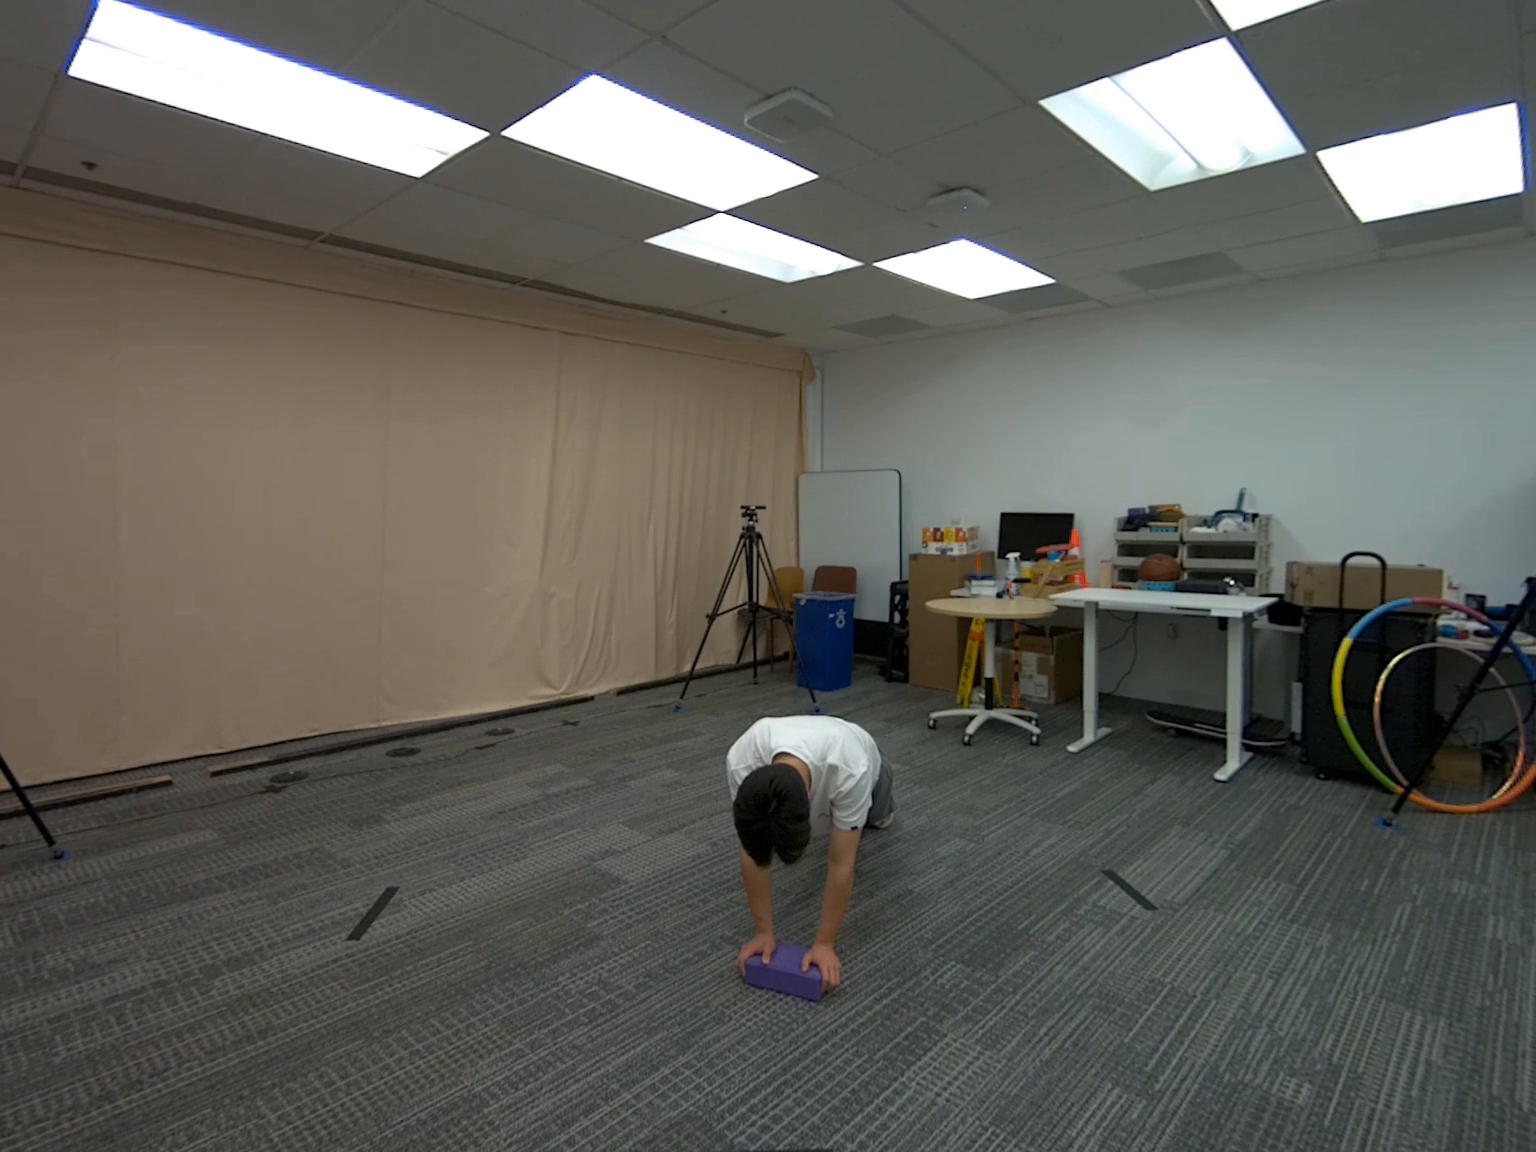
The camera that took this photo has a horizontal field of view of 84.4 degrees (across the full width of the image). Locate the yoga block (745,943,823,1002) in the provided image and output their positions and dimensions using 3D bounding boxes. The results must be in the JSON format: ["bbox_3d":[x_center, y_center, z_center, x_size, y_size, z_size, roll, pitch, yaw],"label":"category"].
[{"bbox_3d":[0.072,1.156,2.461,0.235,0.076,0.145,2,6,25],"label":"yoga block"}]
